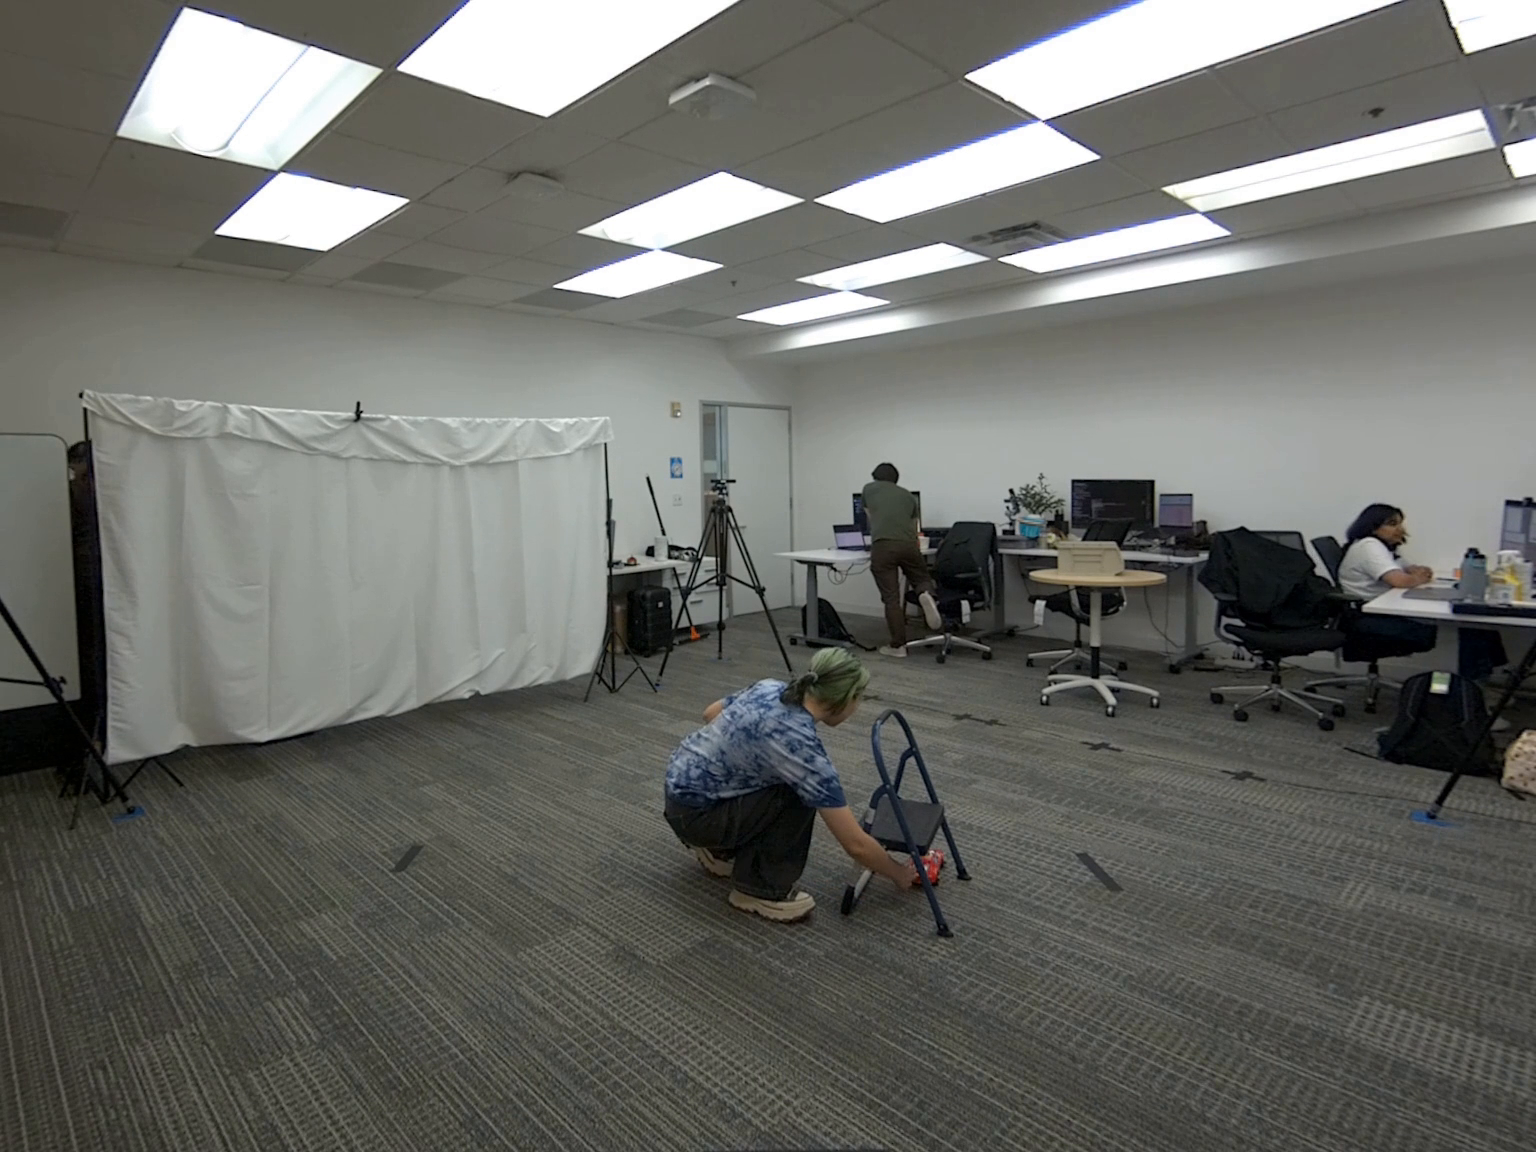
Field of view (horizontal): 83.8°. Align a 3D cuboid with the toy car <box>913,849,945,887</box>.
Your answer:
[{"bbox_3d":[0.541,1.015,2.975,0.133,0.083,0.248,1,-4,22],"label":"toy car"}]
